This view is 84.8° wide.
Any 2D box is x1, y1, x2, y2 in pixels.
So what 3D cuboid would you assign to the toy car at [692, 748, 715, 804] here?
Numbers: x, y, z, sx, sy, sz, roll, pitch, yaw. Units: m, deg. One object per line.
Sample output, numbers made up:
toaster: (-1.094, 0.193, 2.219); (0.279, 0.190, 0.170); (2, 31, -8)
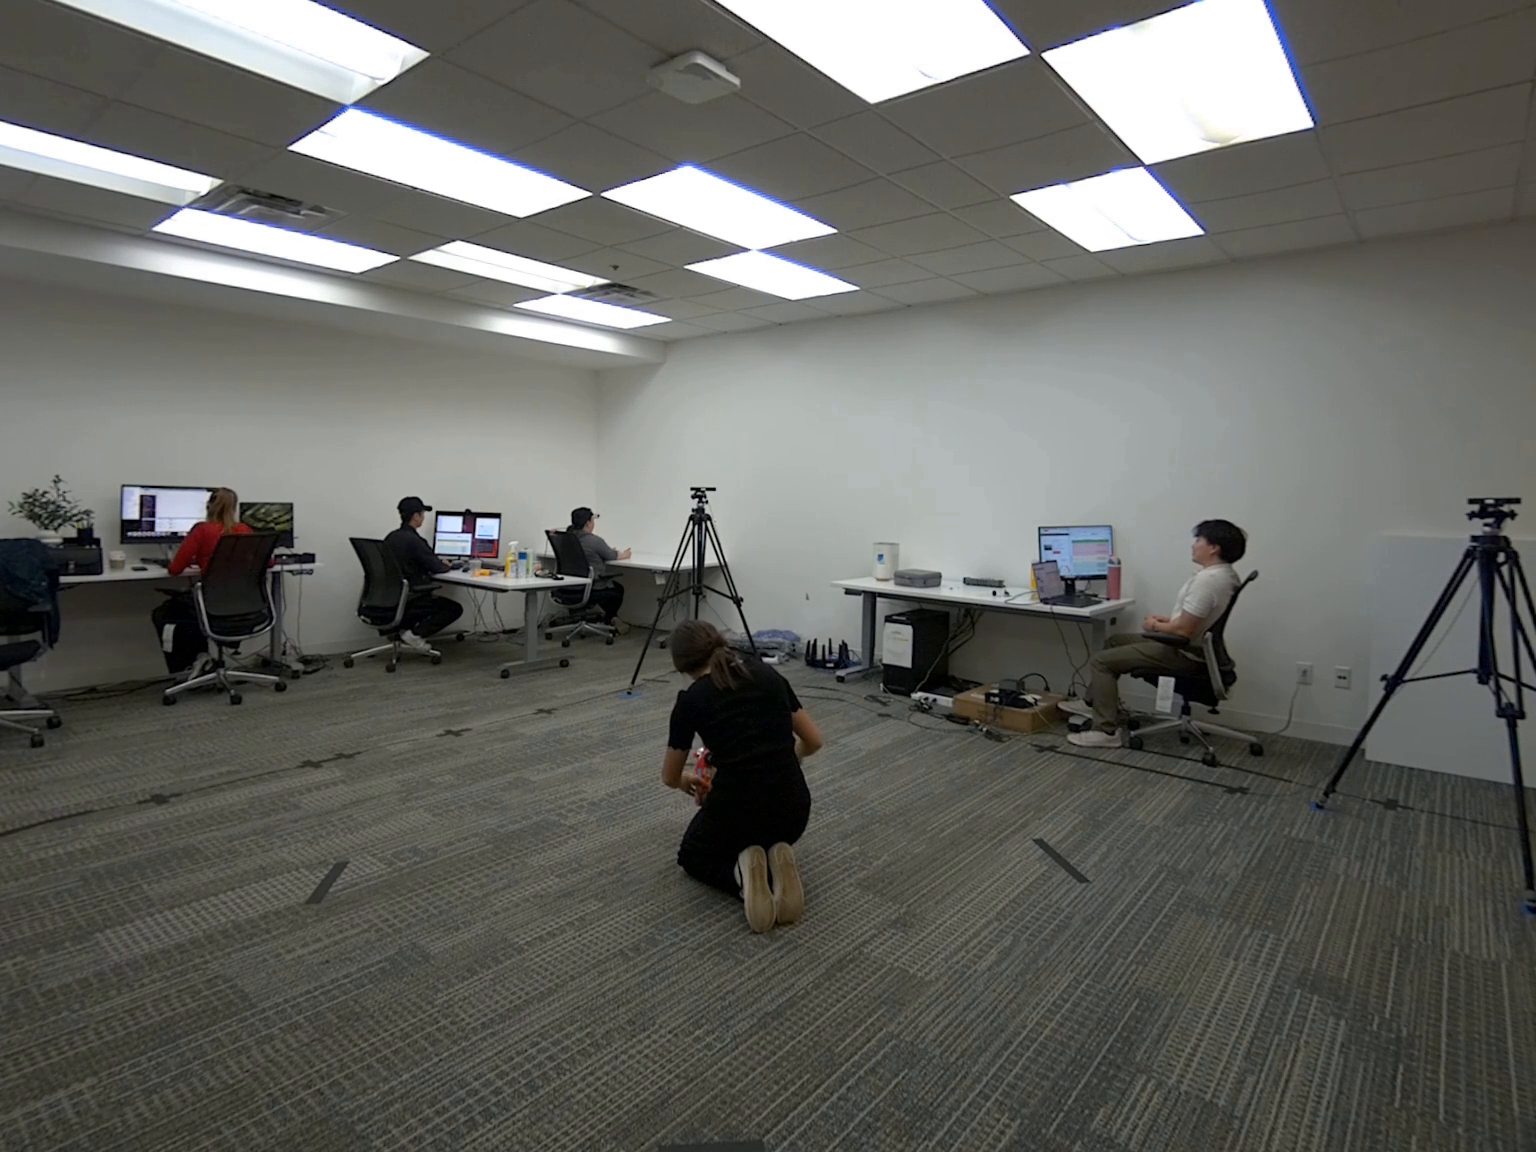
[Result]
toy car: (-0.260, 0.767, 3.342); (0.082, 0.259, 0.130); (-3, -16, -16)
